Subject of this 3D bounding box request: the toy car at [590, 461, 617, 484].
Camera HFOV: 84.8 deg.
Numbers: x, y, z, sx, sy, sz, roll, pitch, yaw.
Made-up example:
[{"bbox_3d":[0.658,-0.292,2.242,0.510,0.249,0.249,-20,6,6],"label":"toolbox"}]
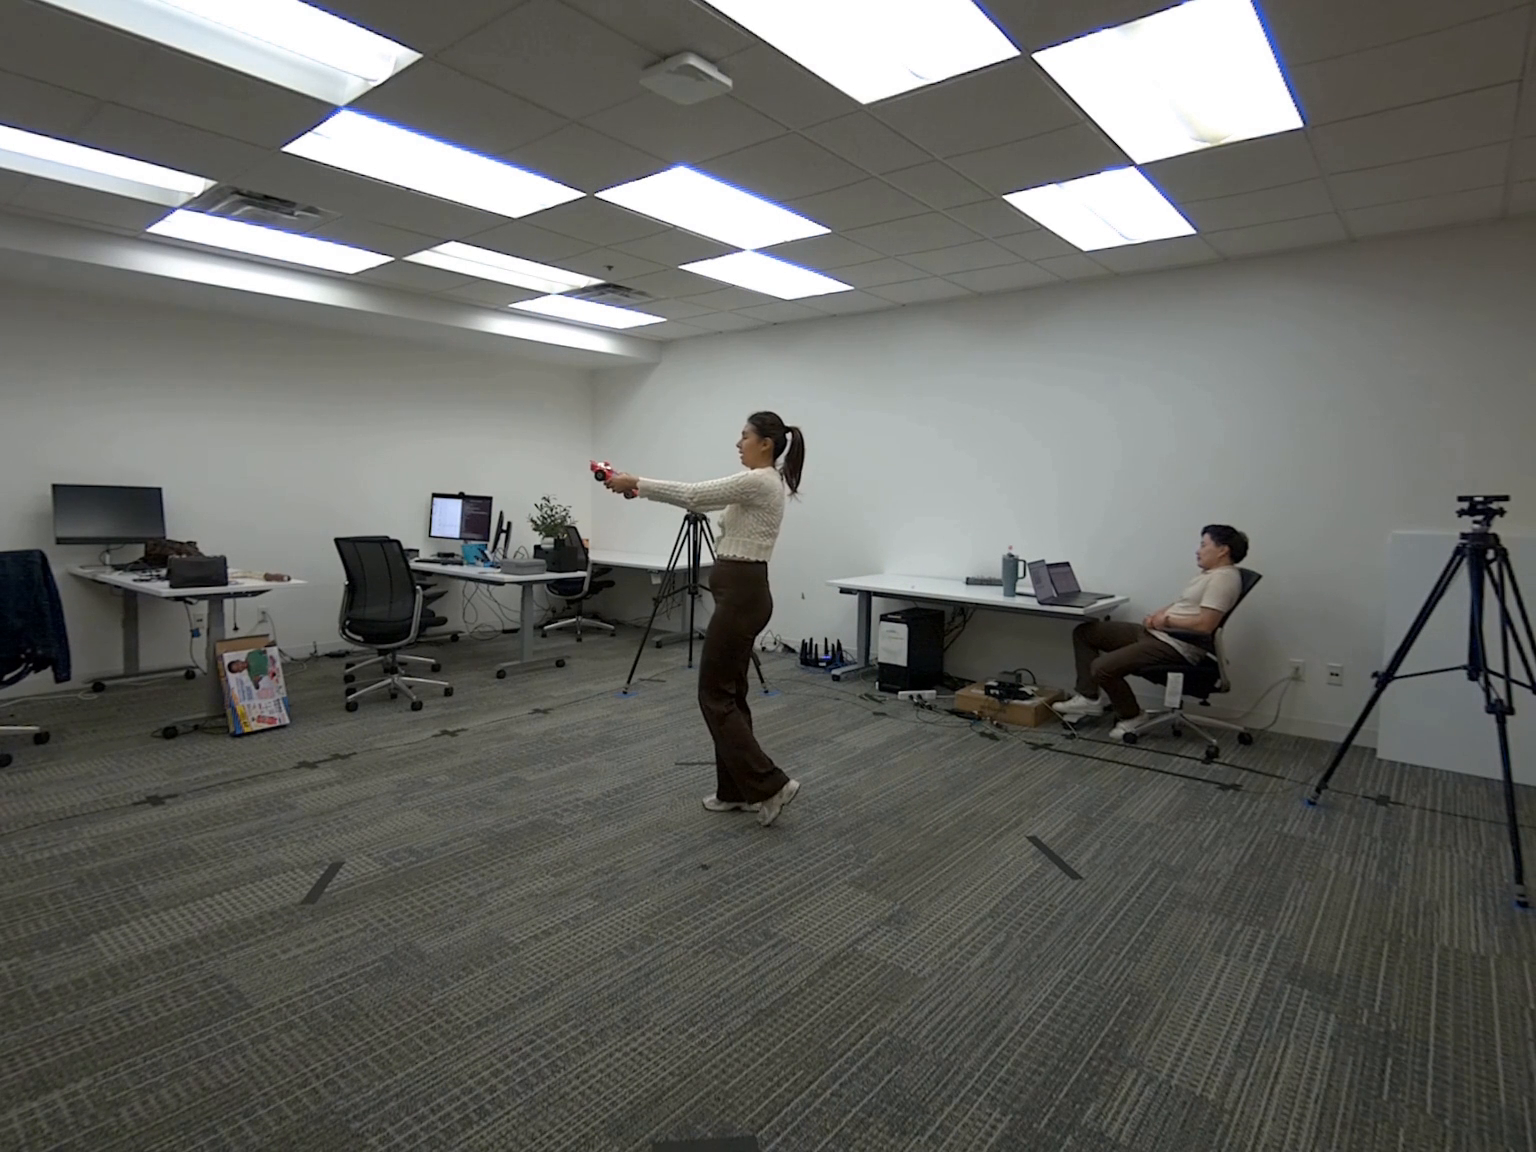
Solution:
[{"bbox_3d":[-0.688,-0.422,3.681,0.254,0.083,0.130,44,6,-1],"label":"toy car"}]
